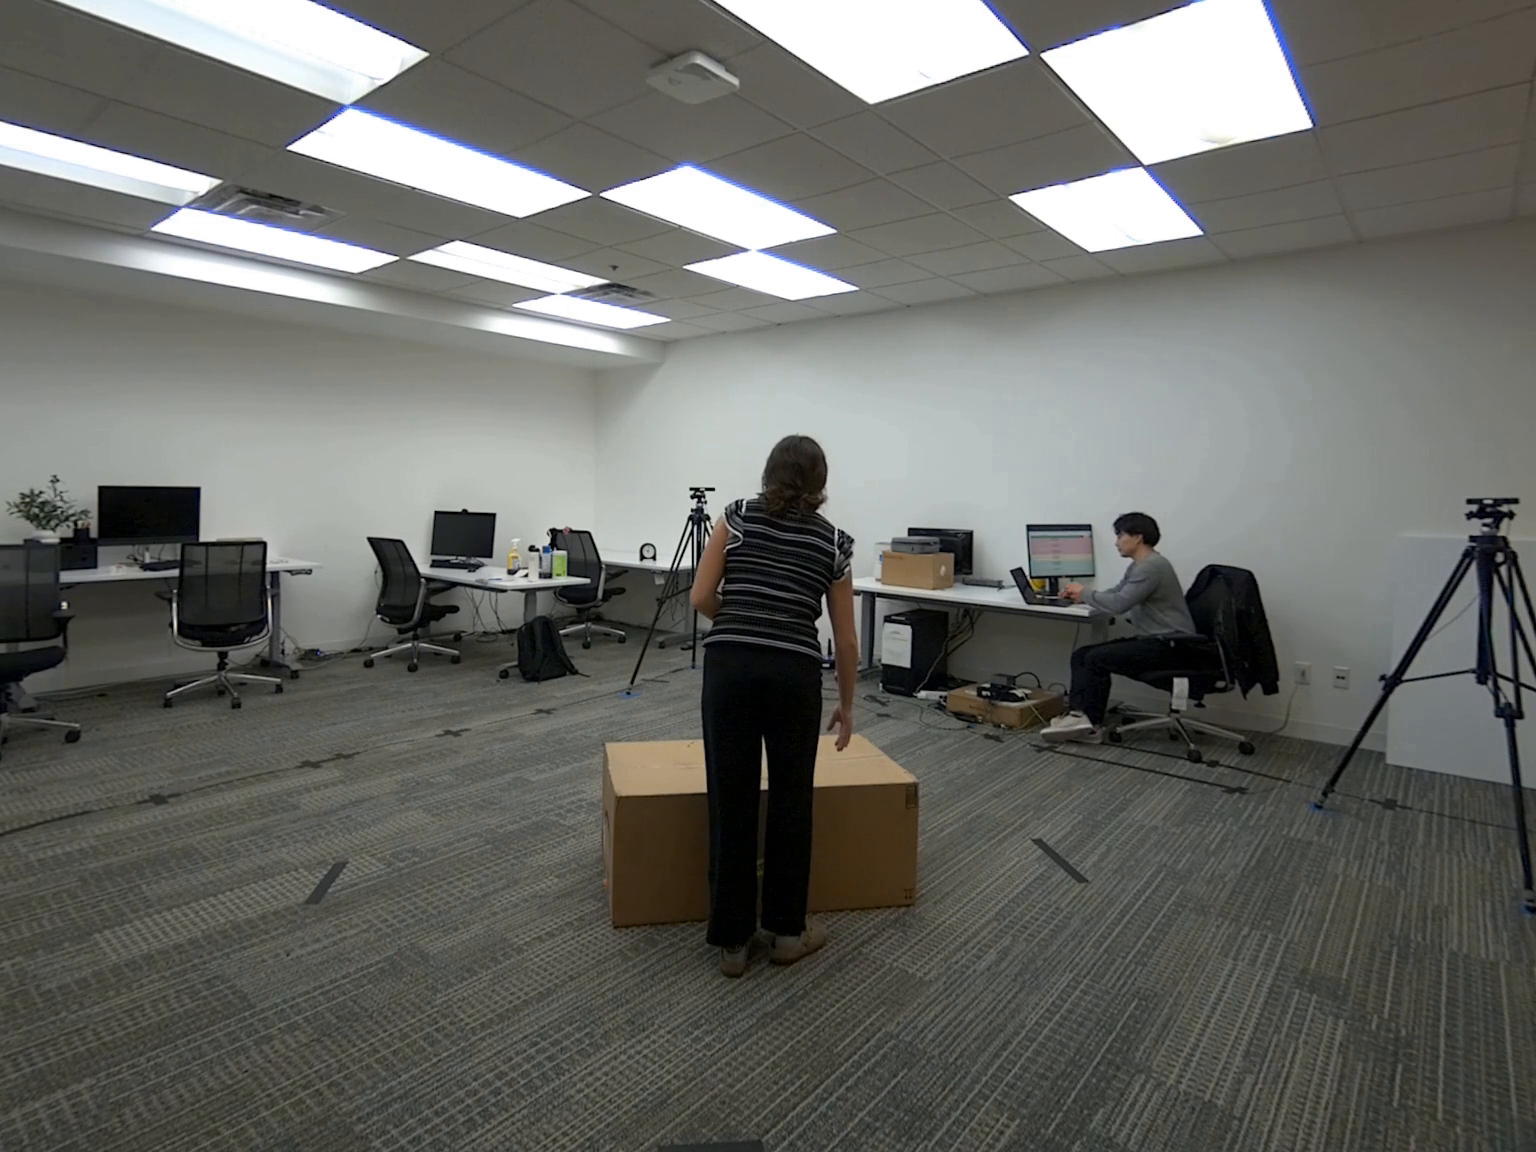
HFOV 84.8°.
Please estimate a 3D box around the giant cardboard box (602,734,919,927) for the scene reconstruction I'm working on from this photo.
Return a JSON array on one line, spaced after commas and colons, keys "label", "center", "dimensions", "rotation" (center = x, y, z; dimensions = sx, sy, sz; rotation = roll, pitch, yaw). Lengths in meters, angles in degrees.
[{"label": "giant cardboard box", "center": [-0.068, 0.866, 3.035], "dimensions": [1.013, 0.425, 0.587], "rotation": [0, 4, -12]}]
